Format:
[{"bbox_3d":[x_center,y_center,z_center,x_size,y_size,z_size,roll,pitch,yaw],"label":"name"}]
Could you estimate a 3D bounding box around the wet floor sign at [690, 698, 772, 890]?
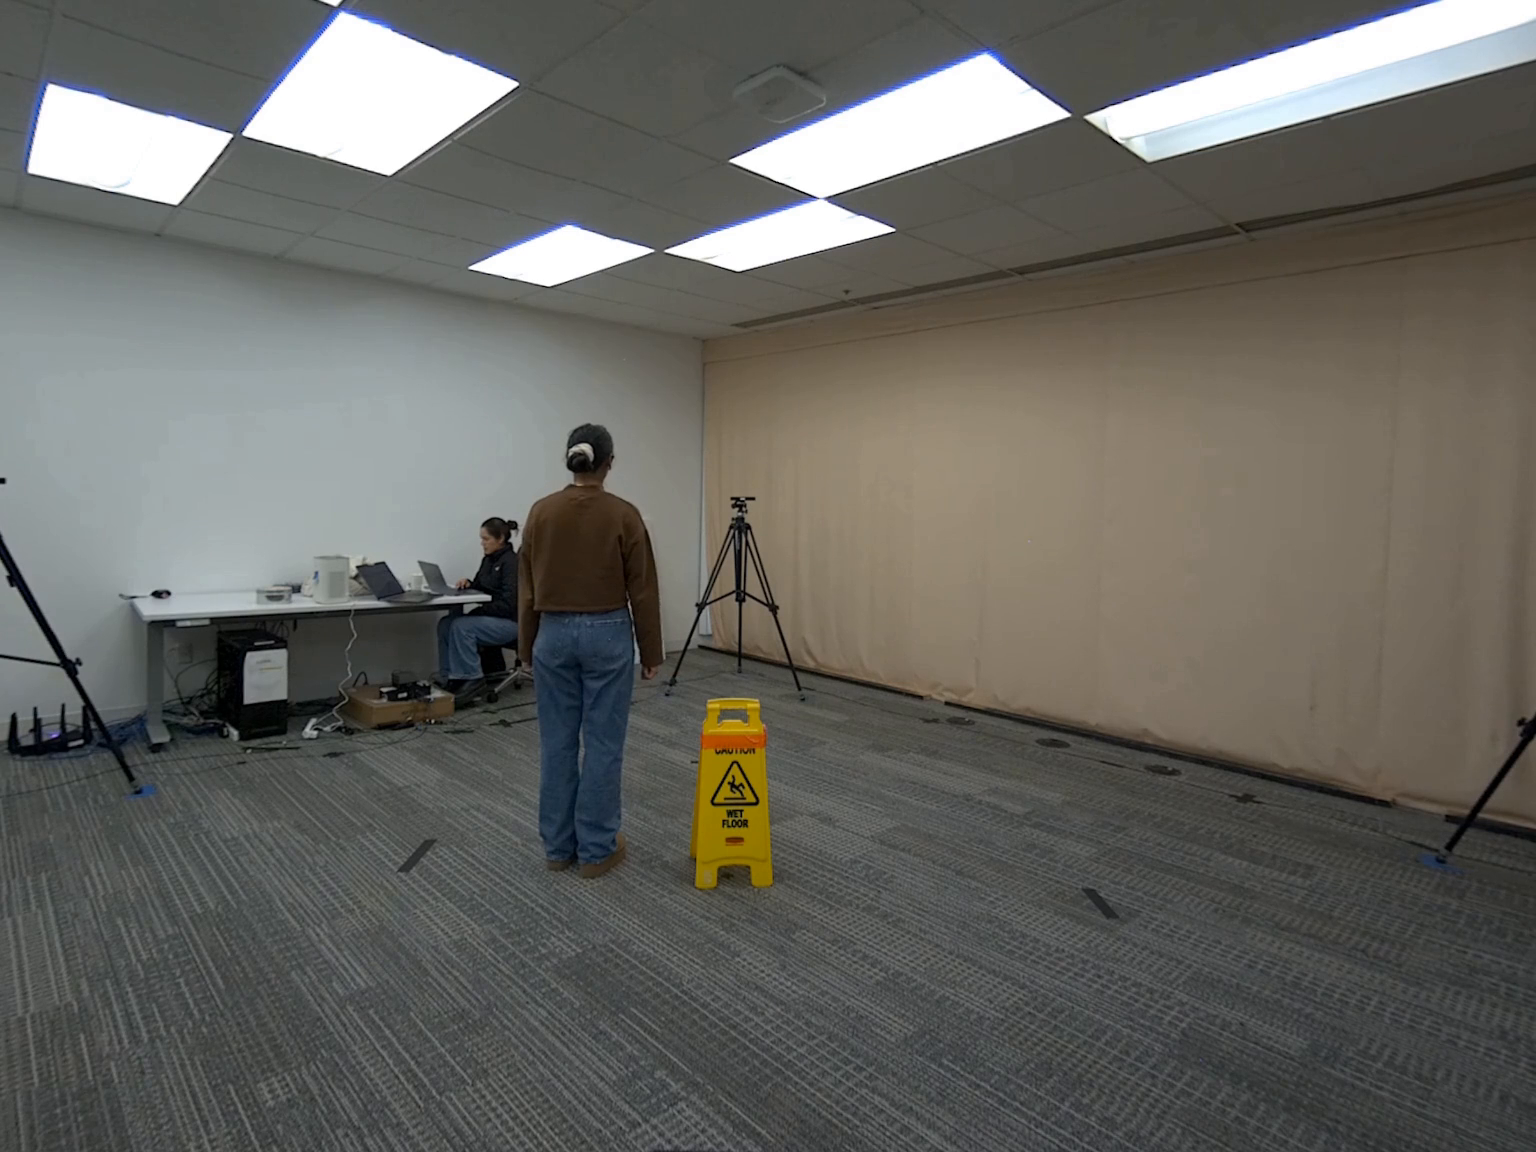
[{"bbox_3d":[-0.143,0.778,3.131,0.280,0.645,0.292,1,3,-9],"label":"wet floor sign"}]
